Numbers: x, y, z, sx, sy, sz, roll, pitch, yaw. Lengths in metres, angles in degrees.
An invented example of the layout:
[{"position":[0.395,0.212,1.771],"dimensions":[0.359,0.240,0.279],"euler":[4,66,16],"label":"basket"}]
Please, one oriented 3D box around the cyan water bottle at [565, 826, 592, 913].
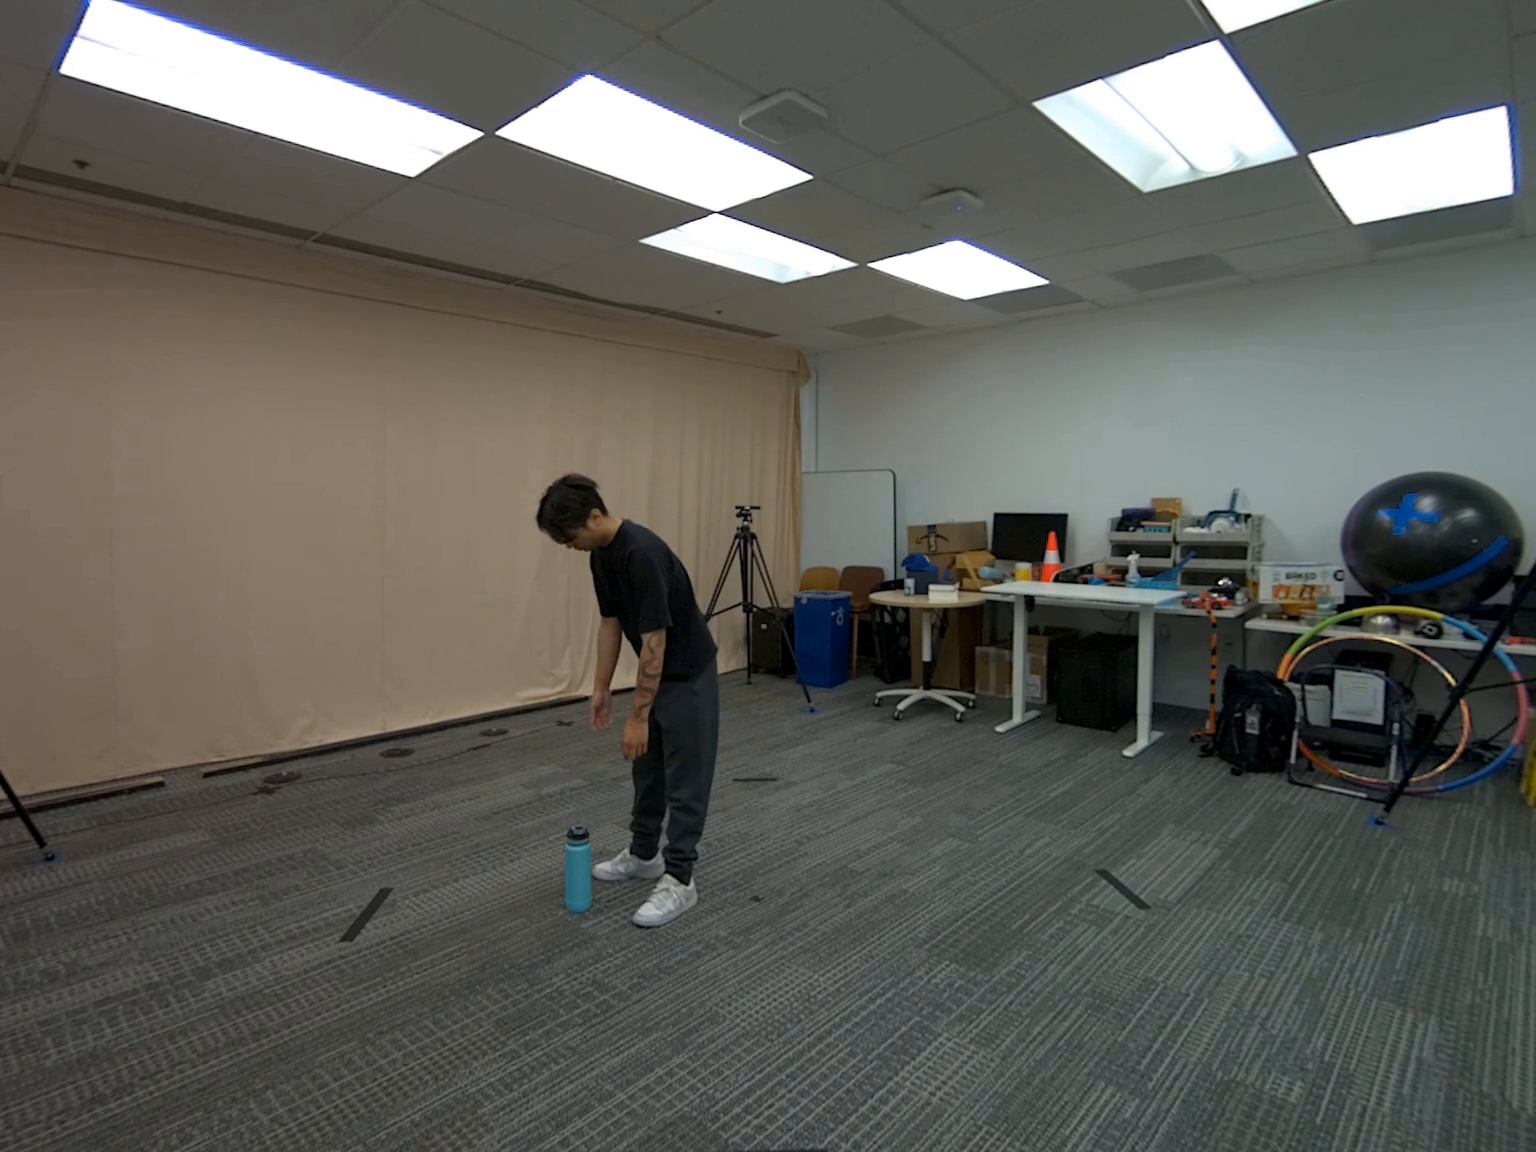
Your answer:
[{"position":[-0.664,1.018,2.931],"dimensions":[0.092,0.283,0.092],"euler":[0,2,-2],"label":"cyan water bottle"}]
